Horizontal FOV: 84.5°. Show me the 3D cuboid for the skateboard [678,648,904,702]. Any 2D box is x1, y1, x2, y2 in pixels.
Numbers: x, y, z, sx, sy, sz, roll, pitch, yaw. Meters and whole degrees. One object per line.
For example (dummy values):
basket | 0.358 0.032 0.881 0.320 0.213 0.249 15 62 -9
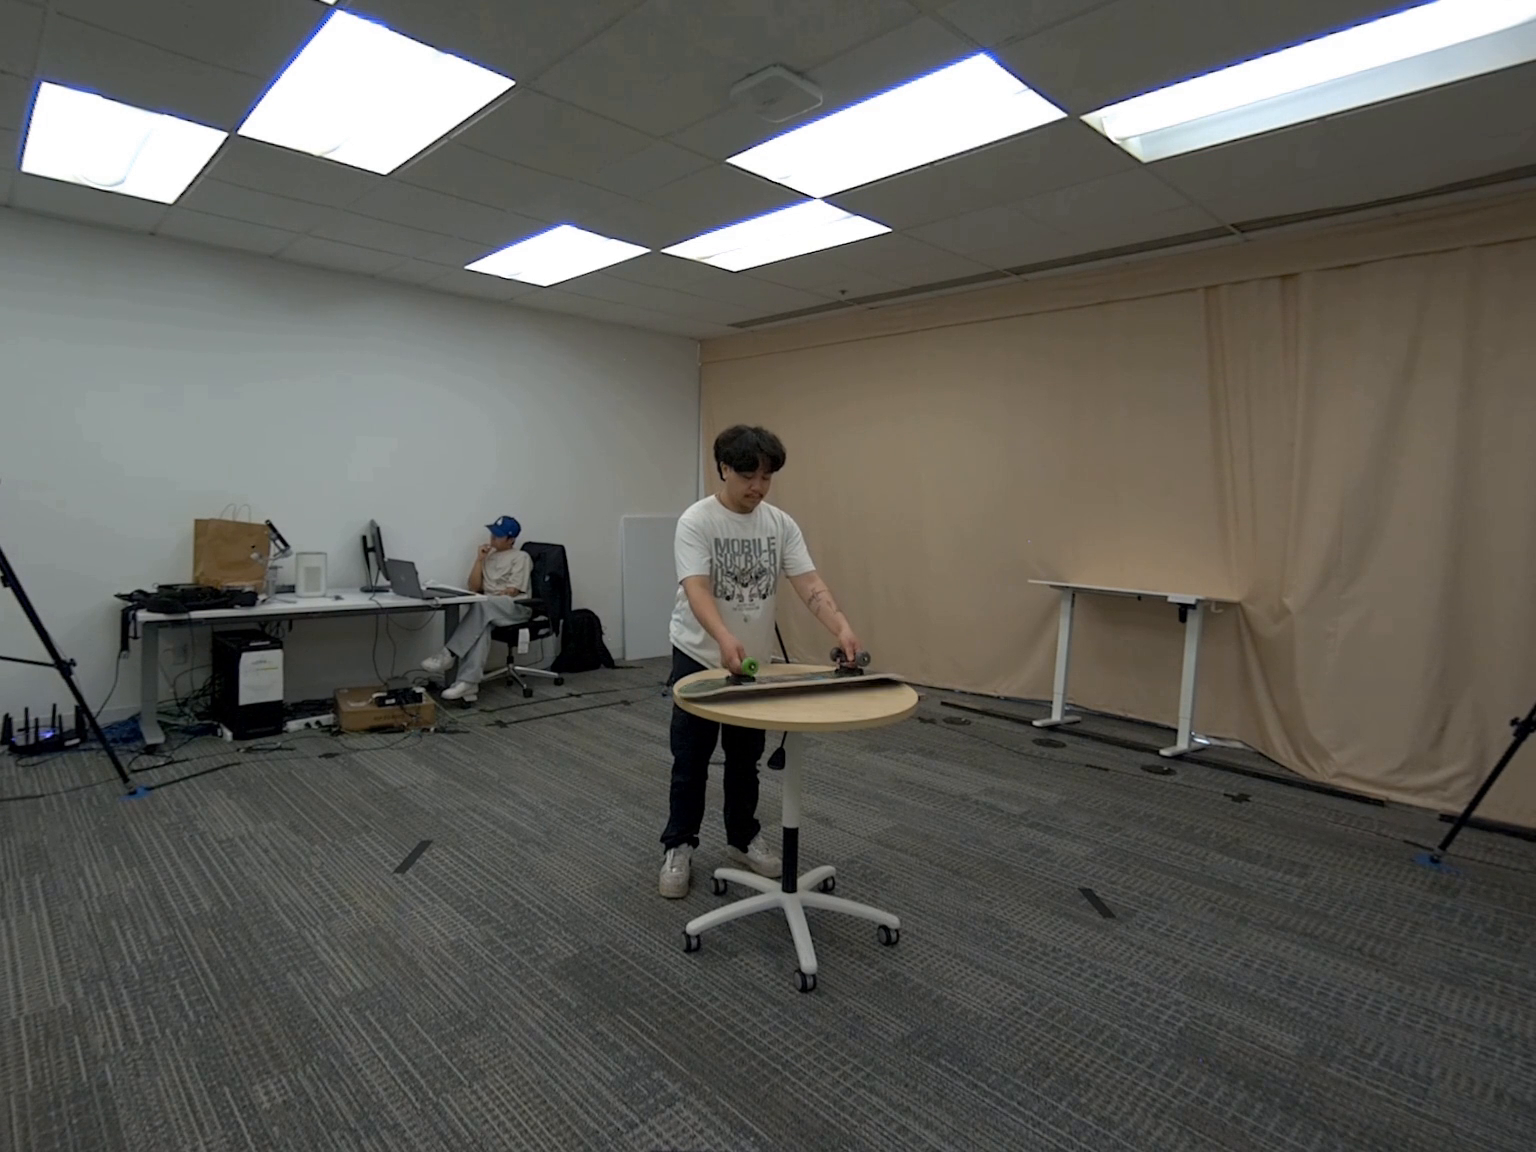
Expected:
skateboard | 0.079 0.295 2.643 0.771 0.110 0.197 -1 1 -26
